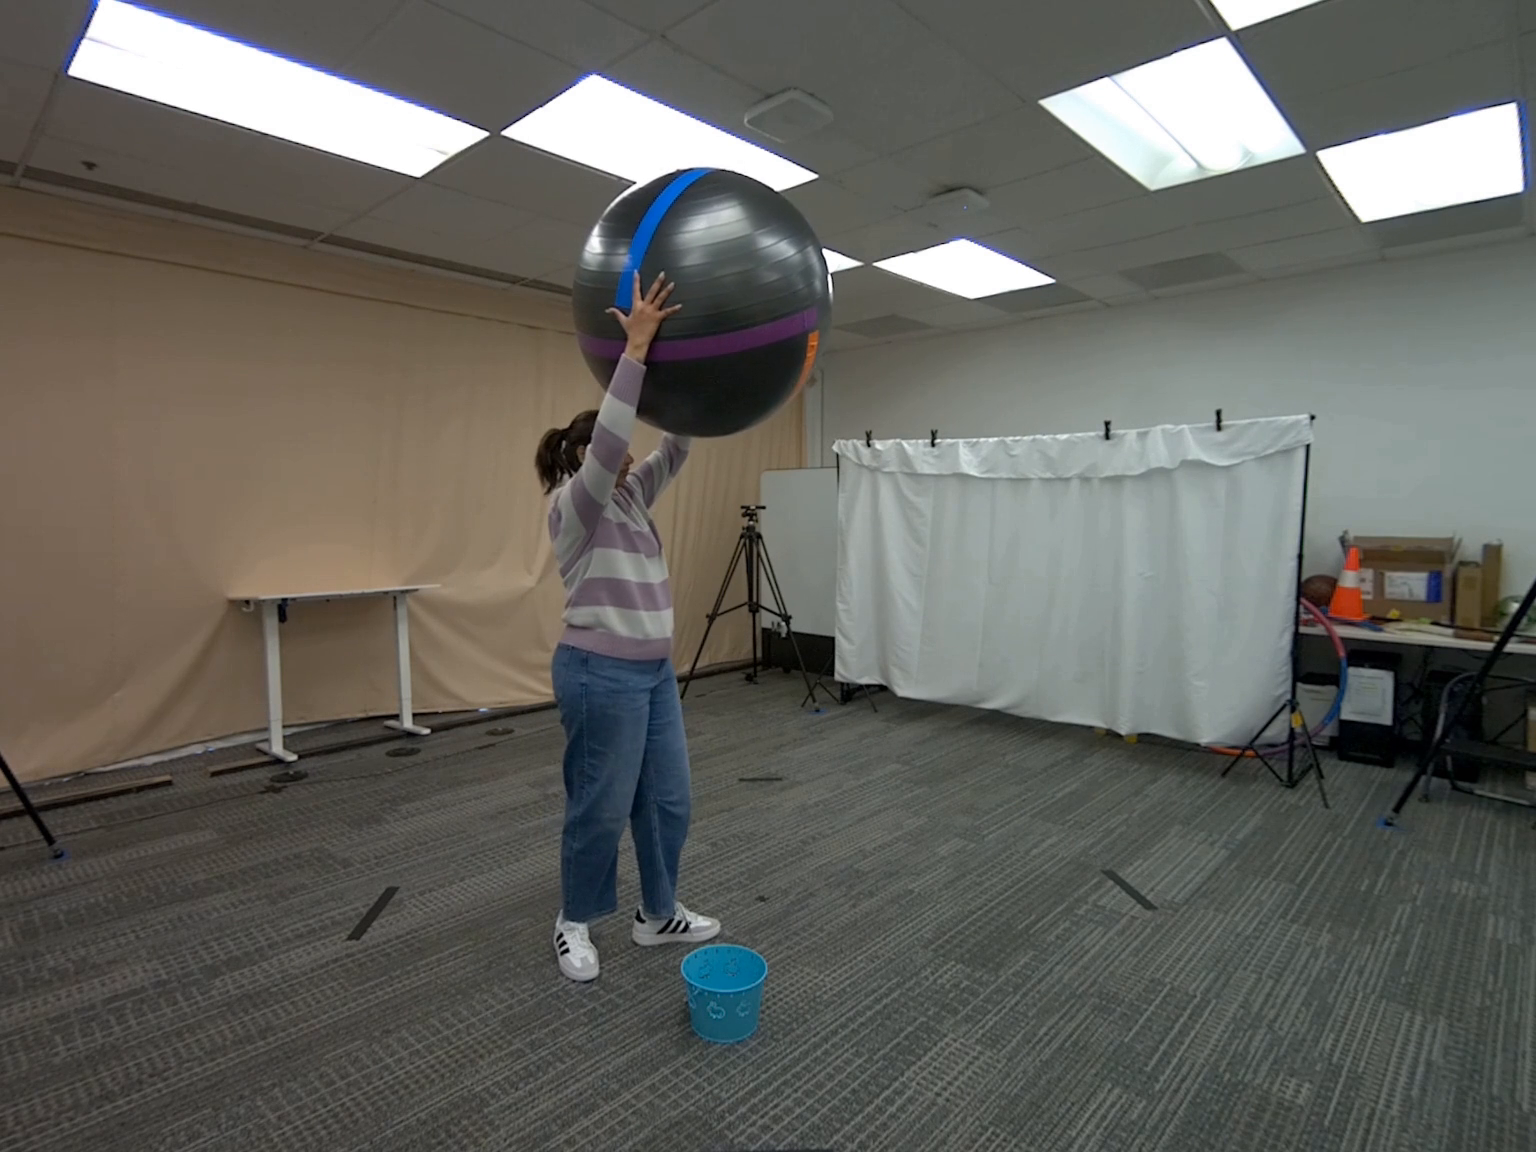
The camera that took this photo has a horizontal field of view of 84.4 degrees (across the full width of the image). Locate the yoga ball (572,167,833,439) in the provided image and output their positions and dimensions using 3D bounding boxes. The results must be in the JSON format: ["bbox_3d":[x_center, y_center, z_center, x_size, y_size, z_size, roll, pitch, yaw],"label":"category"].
[{"bbox_3d":[-0.188,-0.793,2.474,0.757,0.756,0.761,0,4,-2],"label":"yoga ball"}]
